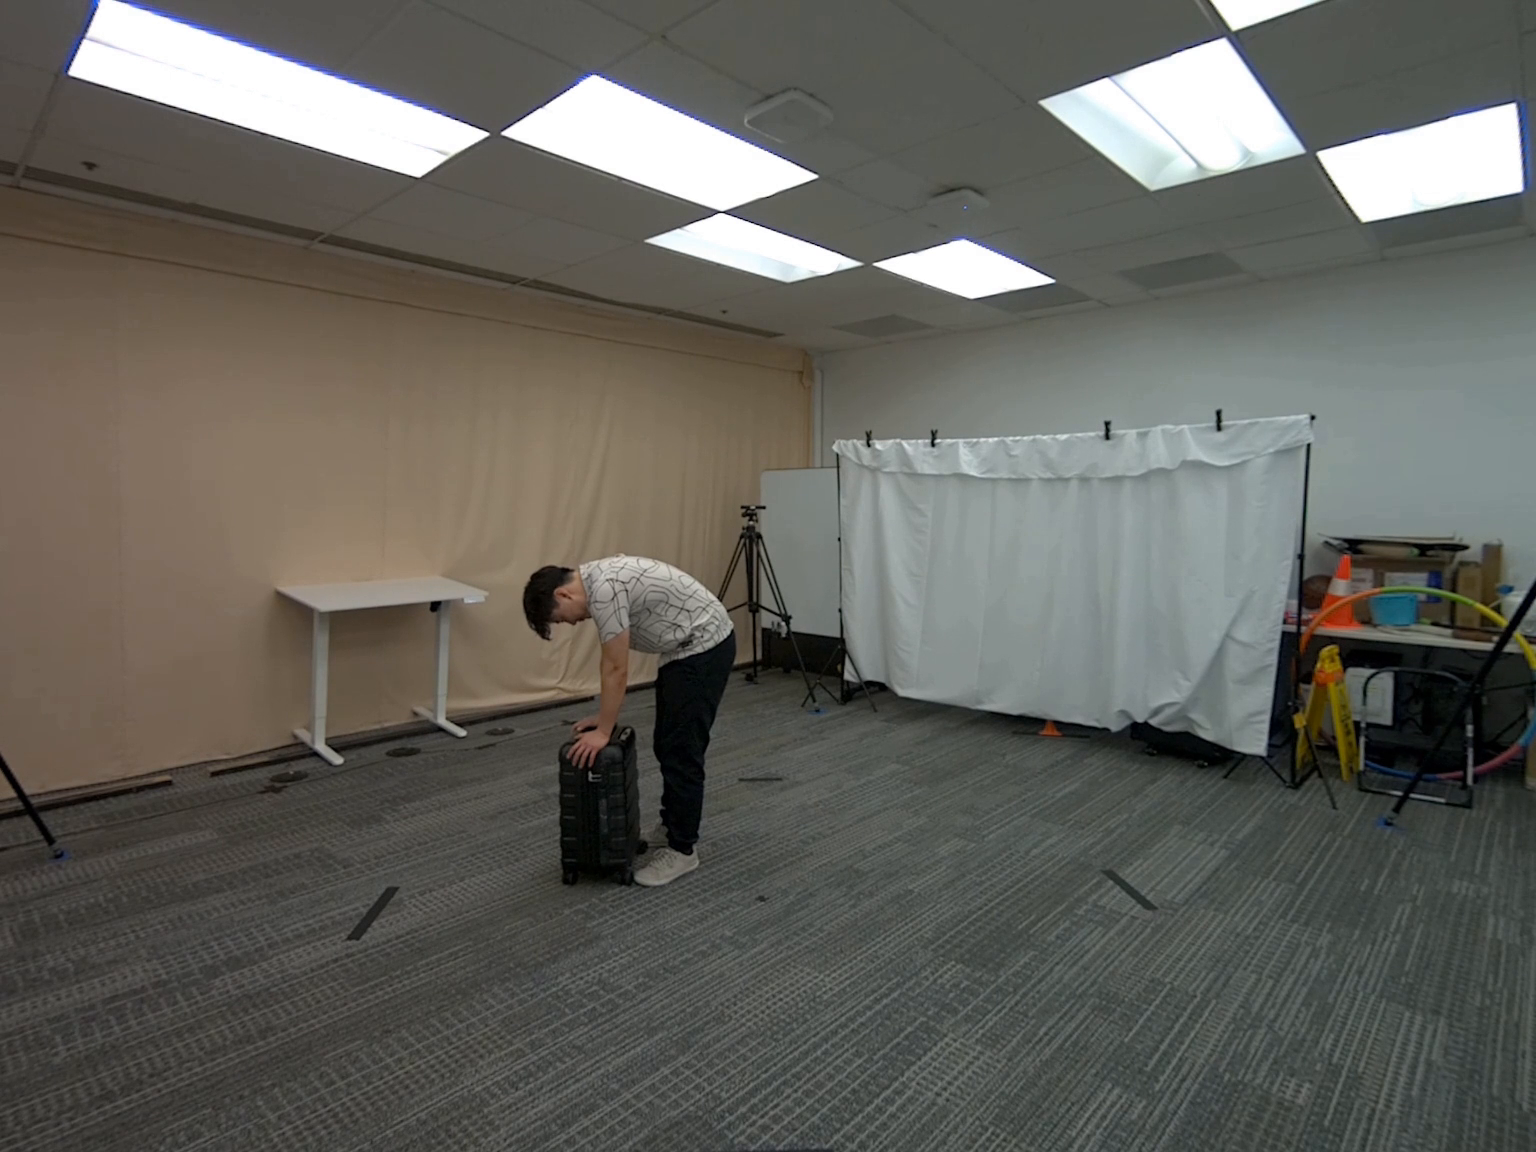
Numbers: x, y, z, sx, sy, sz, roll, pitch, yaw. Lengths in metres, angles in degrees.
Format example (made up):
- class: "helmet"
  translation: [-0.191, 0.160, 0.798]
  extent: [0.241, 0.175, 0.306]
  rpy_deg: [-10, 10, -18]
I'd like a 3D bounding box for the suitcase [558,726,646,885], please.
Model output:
- class: "suitcase"
  translation: [-0.647, 0.860, 3.224]
  extent: [0.249, 0.548, 0.375]
  rpy_deg: [-3, 4, 1]
